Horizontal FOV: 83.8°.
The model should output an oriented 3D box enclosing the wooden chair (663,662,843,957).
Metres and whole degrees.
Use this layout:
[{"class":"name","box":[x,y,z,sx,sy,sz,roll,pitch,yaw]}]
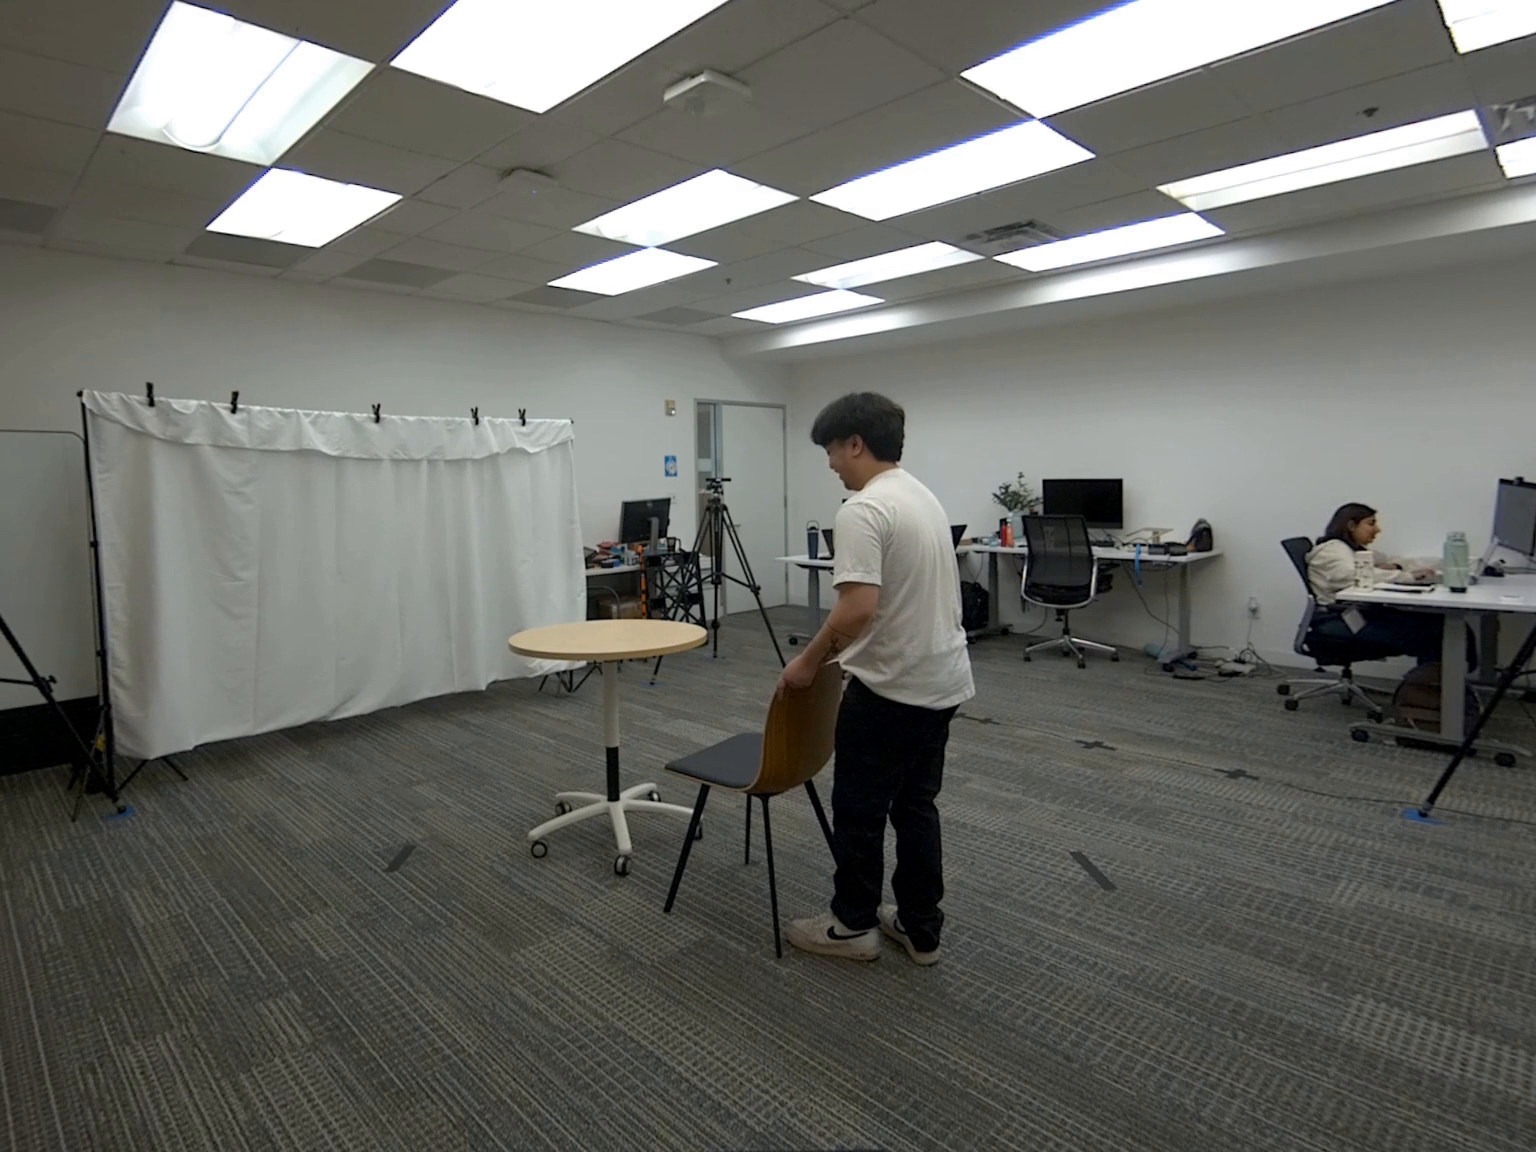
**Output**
[{"class":"wooden chair","box":[-0.033,0.653,2.767,0.540,0.871,0.466,8,10,37]}]
